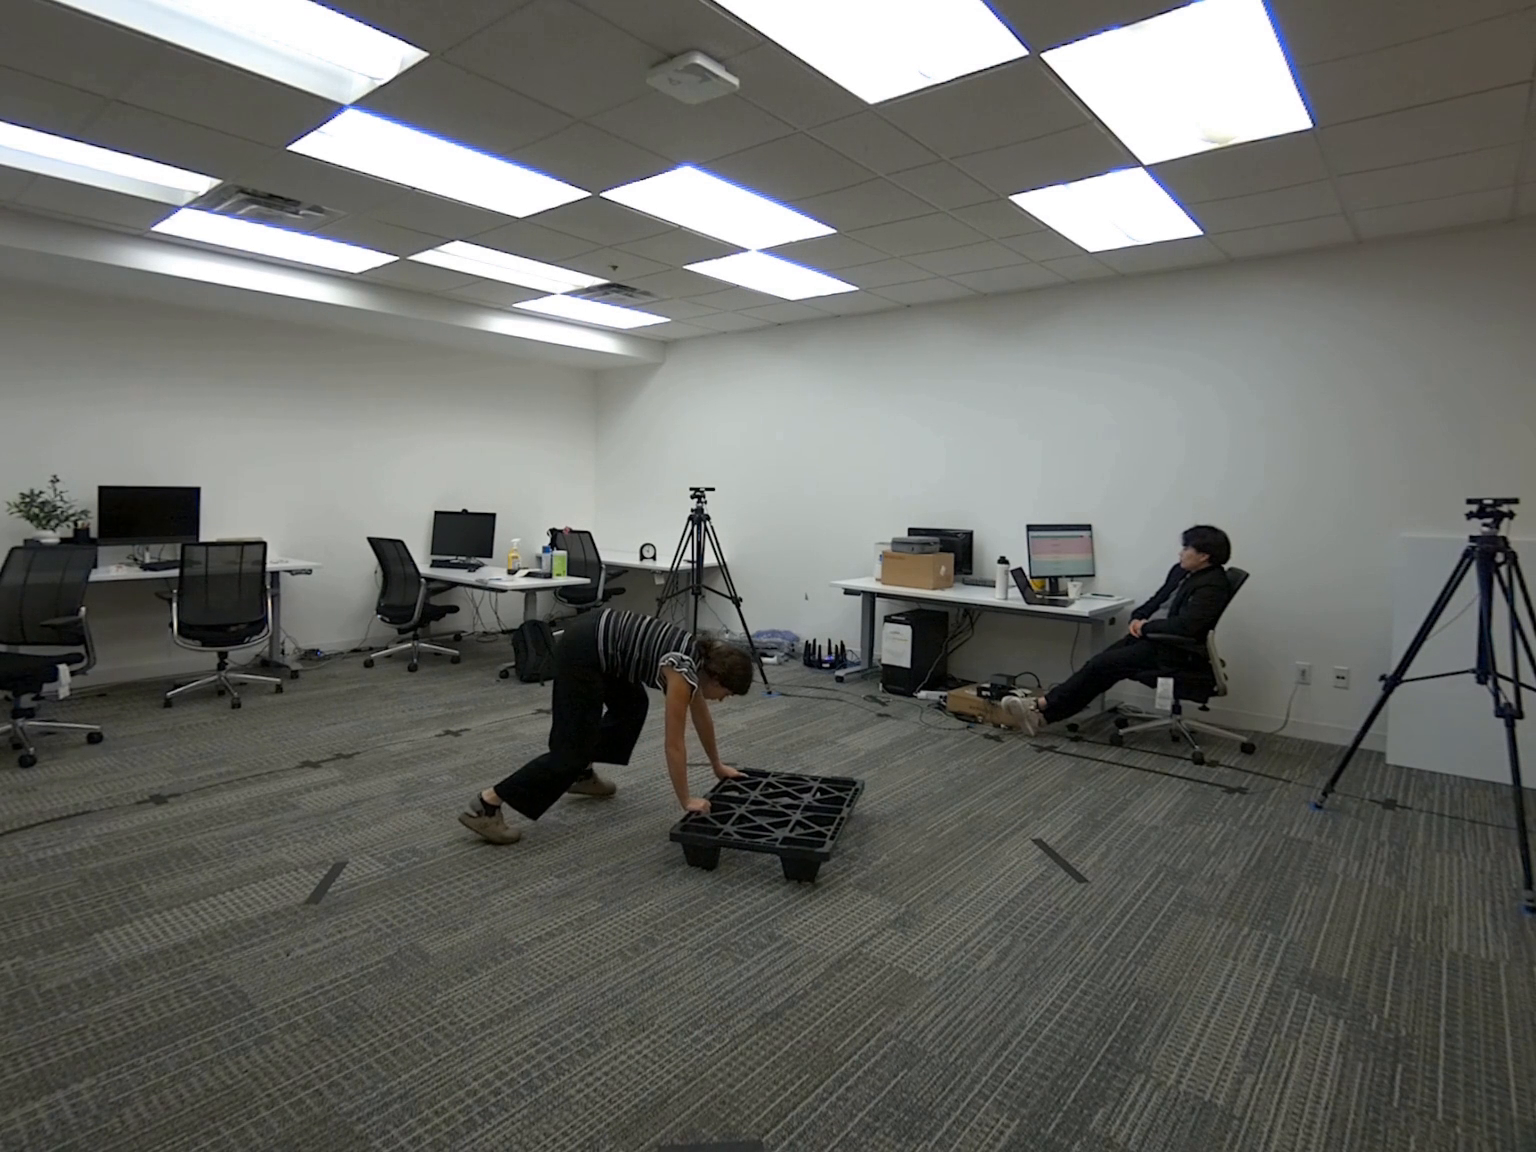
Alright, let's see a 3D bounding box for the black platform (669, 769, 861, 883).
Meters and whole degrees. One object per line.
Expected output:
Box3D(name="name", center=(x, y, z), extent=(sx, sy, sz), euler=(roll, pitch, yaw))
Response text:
Box3D(name="black platform", center=(0.024, 0.970, 3.395), extent=(0.617, 0.143, 0.794), euler=(2, 6, 17))
